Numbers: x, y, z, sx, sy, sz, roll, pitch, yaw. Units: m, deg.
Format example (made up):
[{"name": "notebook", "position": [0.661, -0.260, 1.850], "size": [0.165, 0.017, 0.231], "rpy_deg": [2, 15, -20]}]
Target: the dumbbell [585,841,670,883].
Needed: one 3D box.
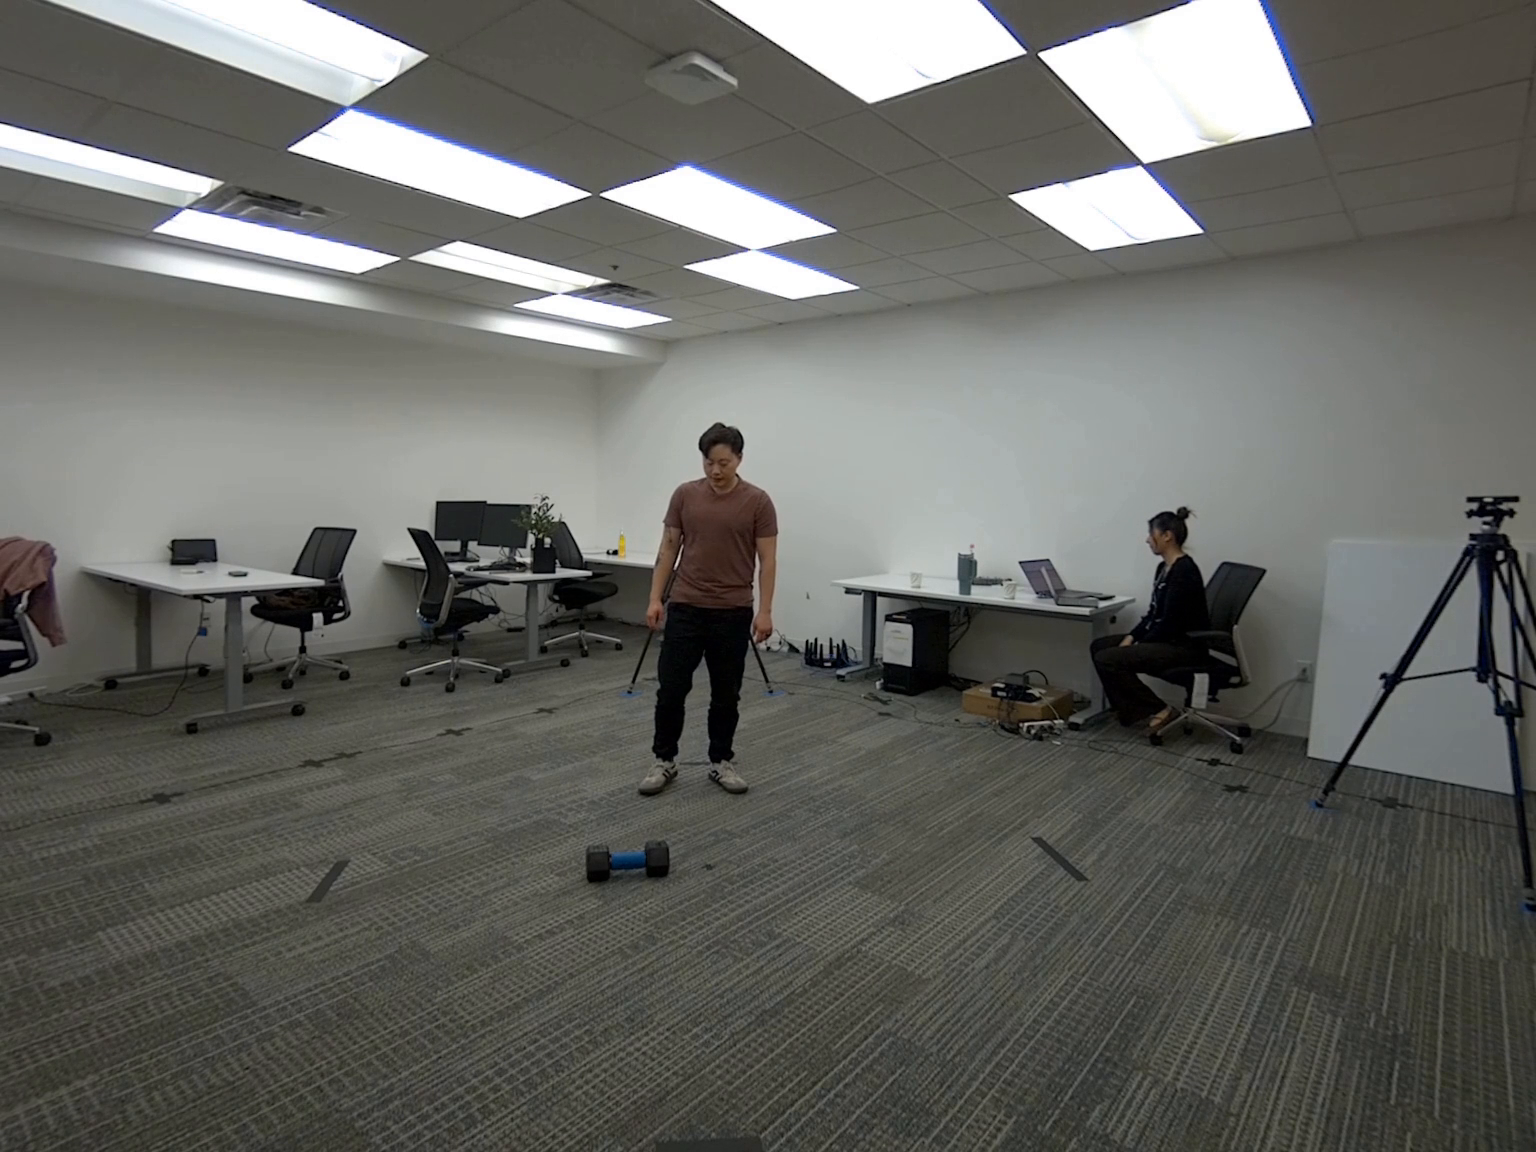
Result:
[{"name": "dumbbell", "position": [-0.511, 1.014, 3.034], "size": [0.289, 0.126, 0.107], "rpy_deg": [0, -26, -13]}]
